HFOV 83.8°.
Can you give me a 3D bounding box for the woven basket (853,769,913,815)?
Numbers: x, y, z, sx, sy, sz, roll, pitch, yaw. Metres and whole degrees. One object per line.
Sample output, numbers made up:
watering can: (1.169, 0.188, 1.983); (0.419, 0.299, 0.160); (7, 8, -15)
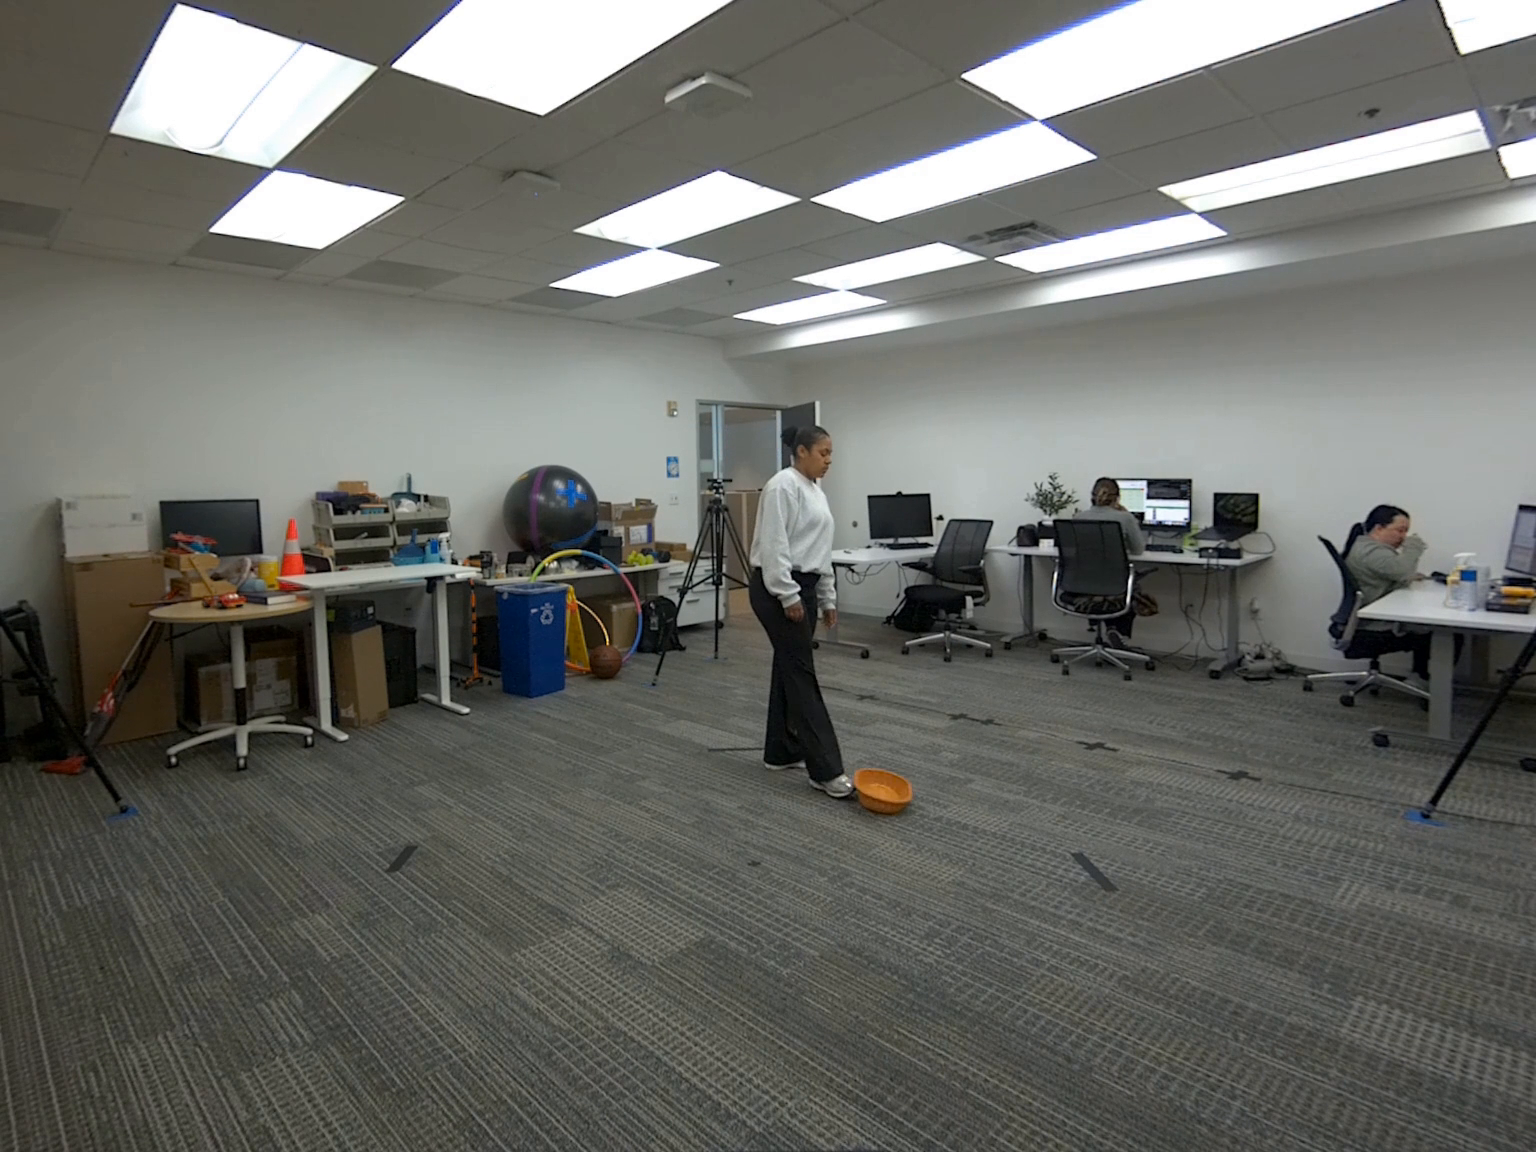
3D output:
woven basket: (0.466, 0.926, 3.674); (0.256, 0.073, 0.347); (7, 9, 13)
